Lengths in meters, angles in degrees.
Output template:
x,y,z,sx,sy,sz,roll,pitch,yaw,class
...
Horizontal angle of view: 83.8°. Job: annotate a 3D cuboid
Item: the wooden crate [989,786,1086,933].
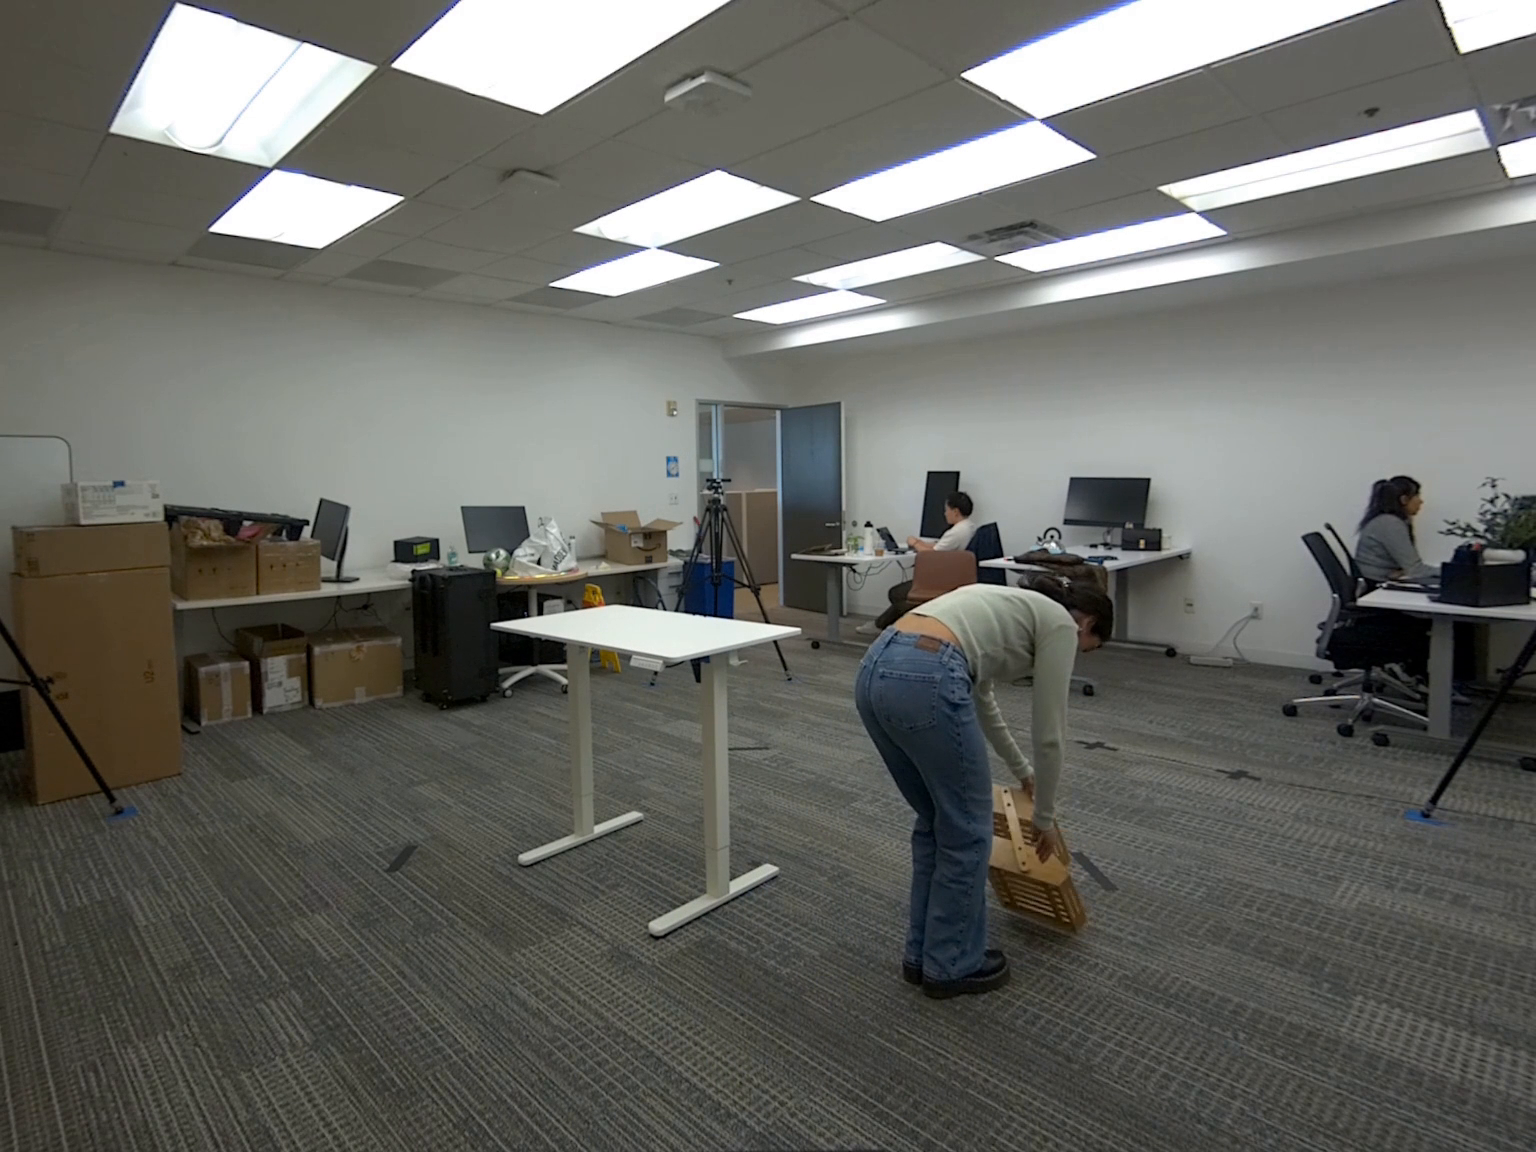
x,y,z,sx,sy,sz,roll,pitch,yaw,class
0.835,0.861,2.632,0.311,0.313,0.275,5,50,36,wooden crate
